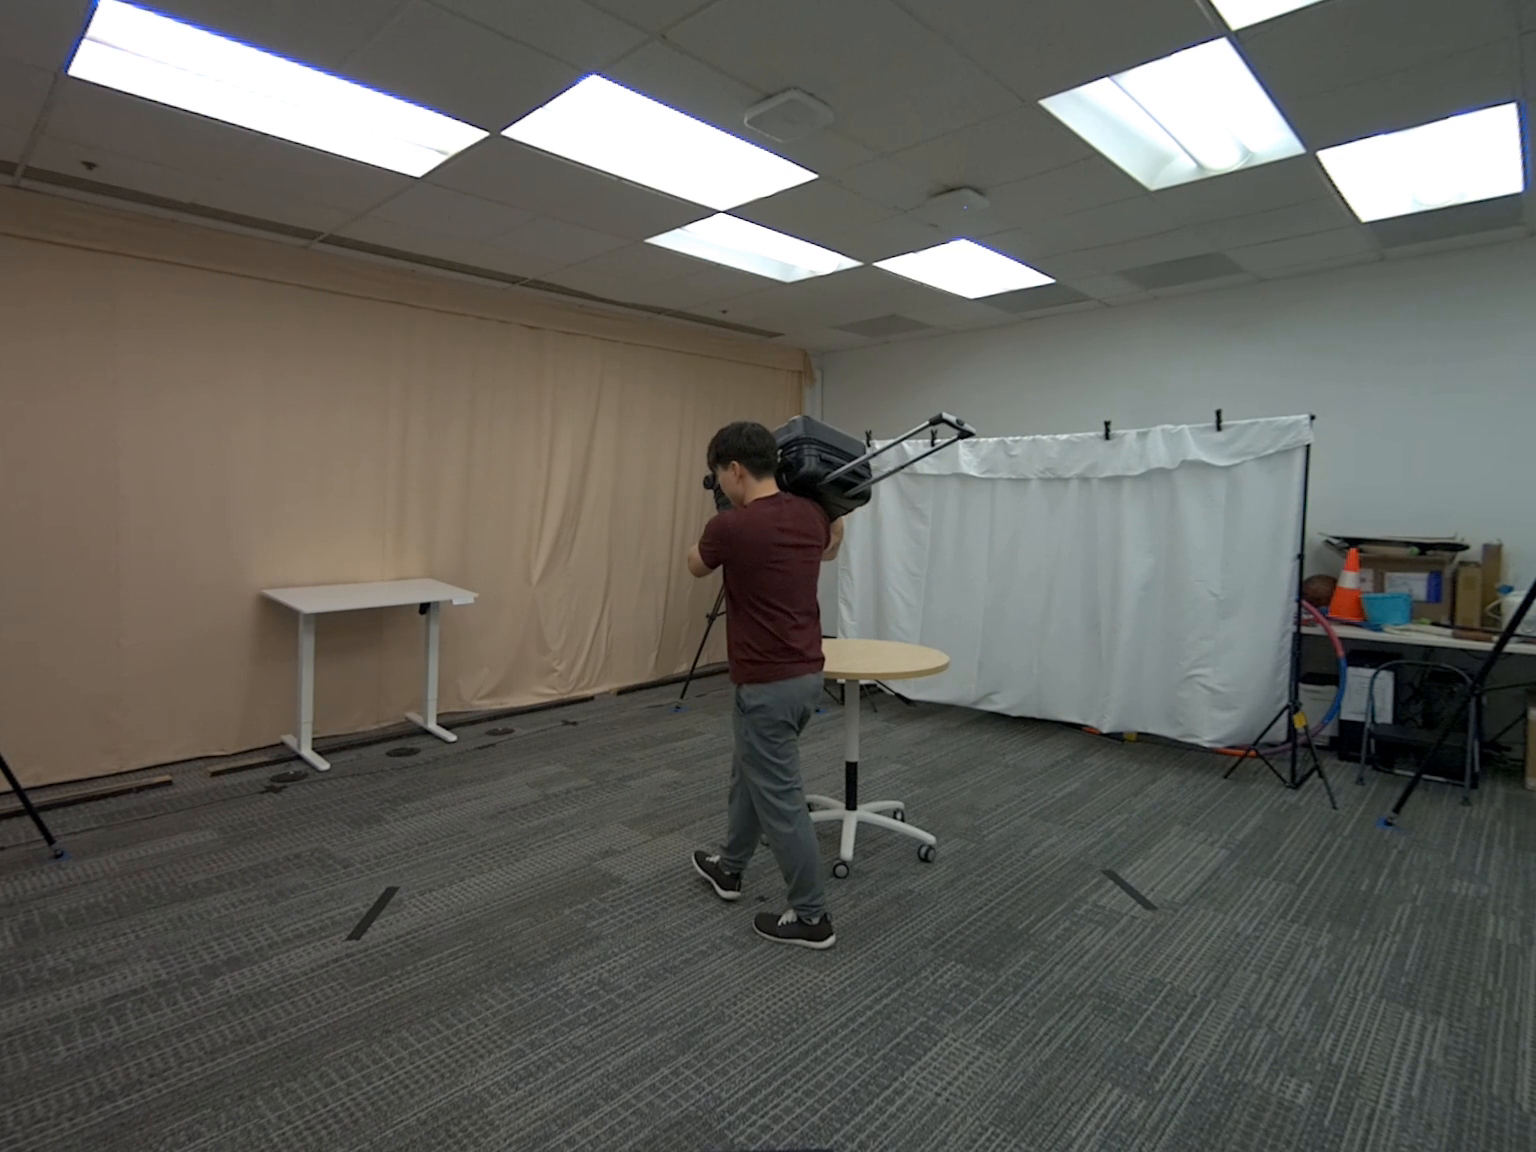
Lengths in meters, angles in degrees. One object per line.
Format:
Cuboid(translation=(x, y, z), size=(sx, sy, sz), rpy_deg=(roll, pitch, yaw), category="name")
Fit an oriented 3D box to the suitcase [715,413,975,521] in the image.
Cuboid(translation=(0.209, -0.384, 2.801), size=(0.371, 0.261, 0.997), rpy_deg=(17, -31, -37), category="suitcase")
